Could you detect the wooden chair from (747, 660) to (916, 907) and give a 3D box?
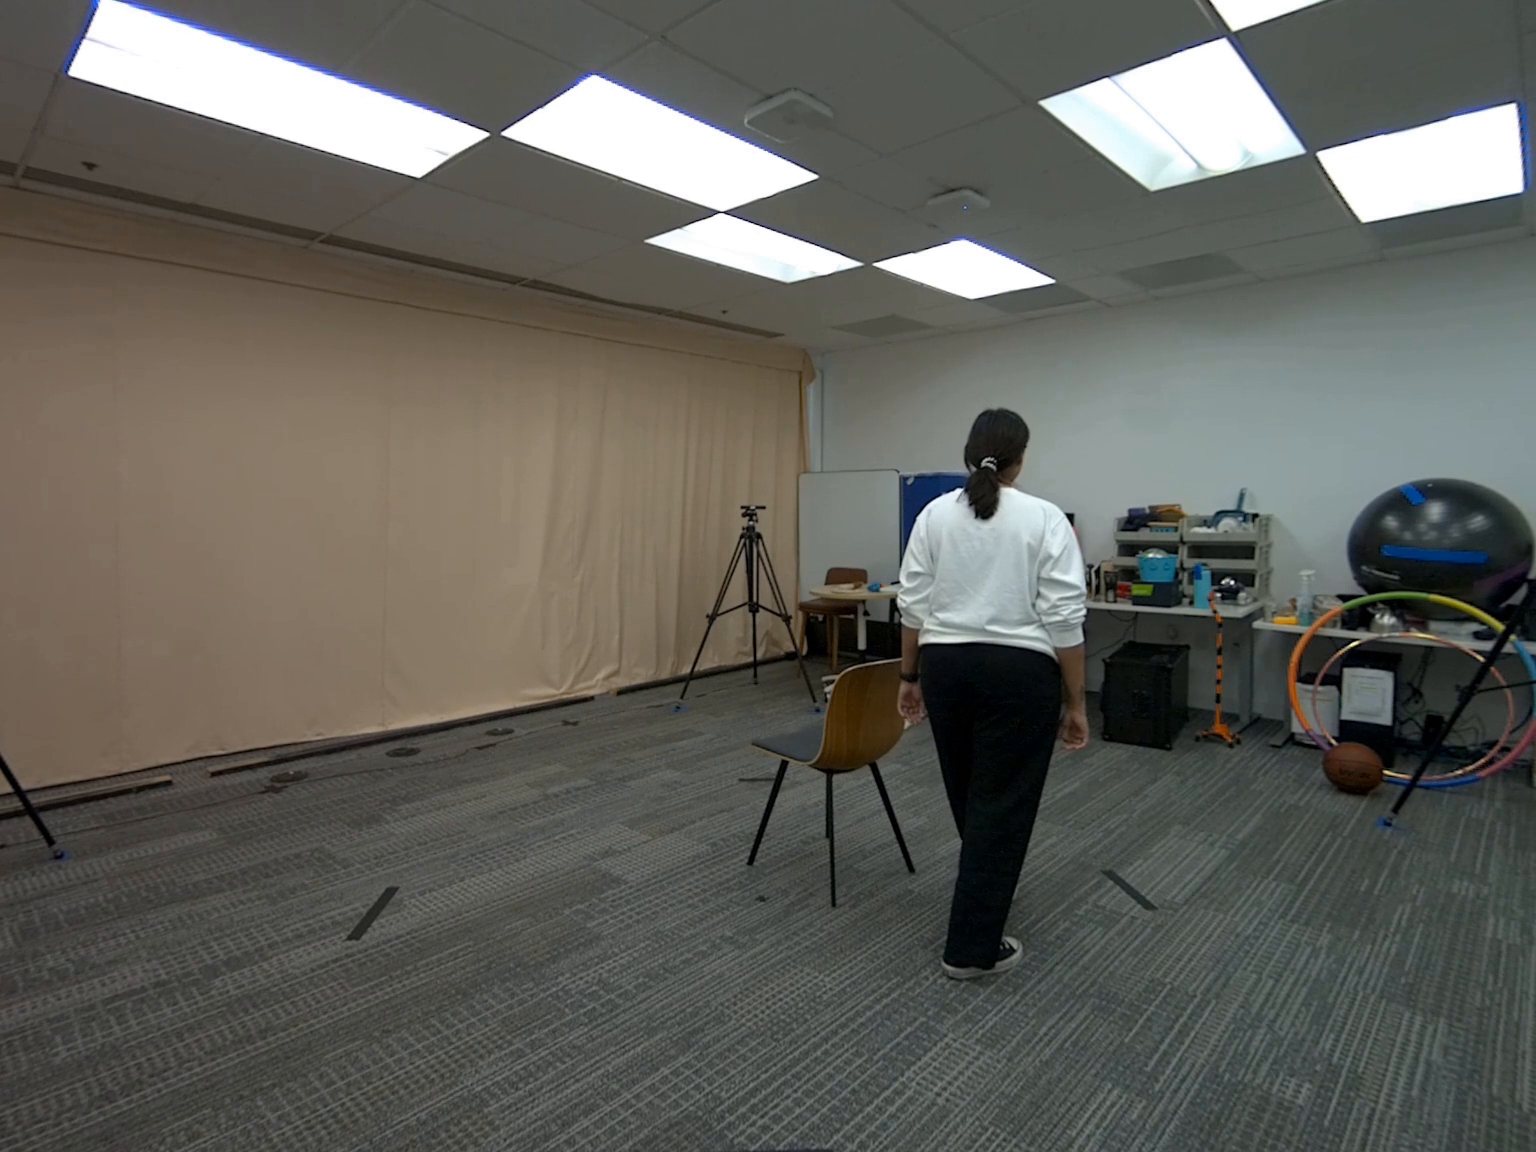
[{"bbox_3d":[0.236,0.697,3.206,0.463,0.874,0.541,-3,9,-41],"label":"wooden chair"}]
